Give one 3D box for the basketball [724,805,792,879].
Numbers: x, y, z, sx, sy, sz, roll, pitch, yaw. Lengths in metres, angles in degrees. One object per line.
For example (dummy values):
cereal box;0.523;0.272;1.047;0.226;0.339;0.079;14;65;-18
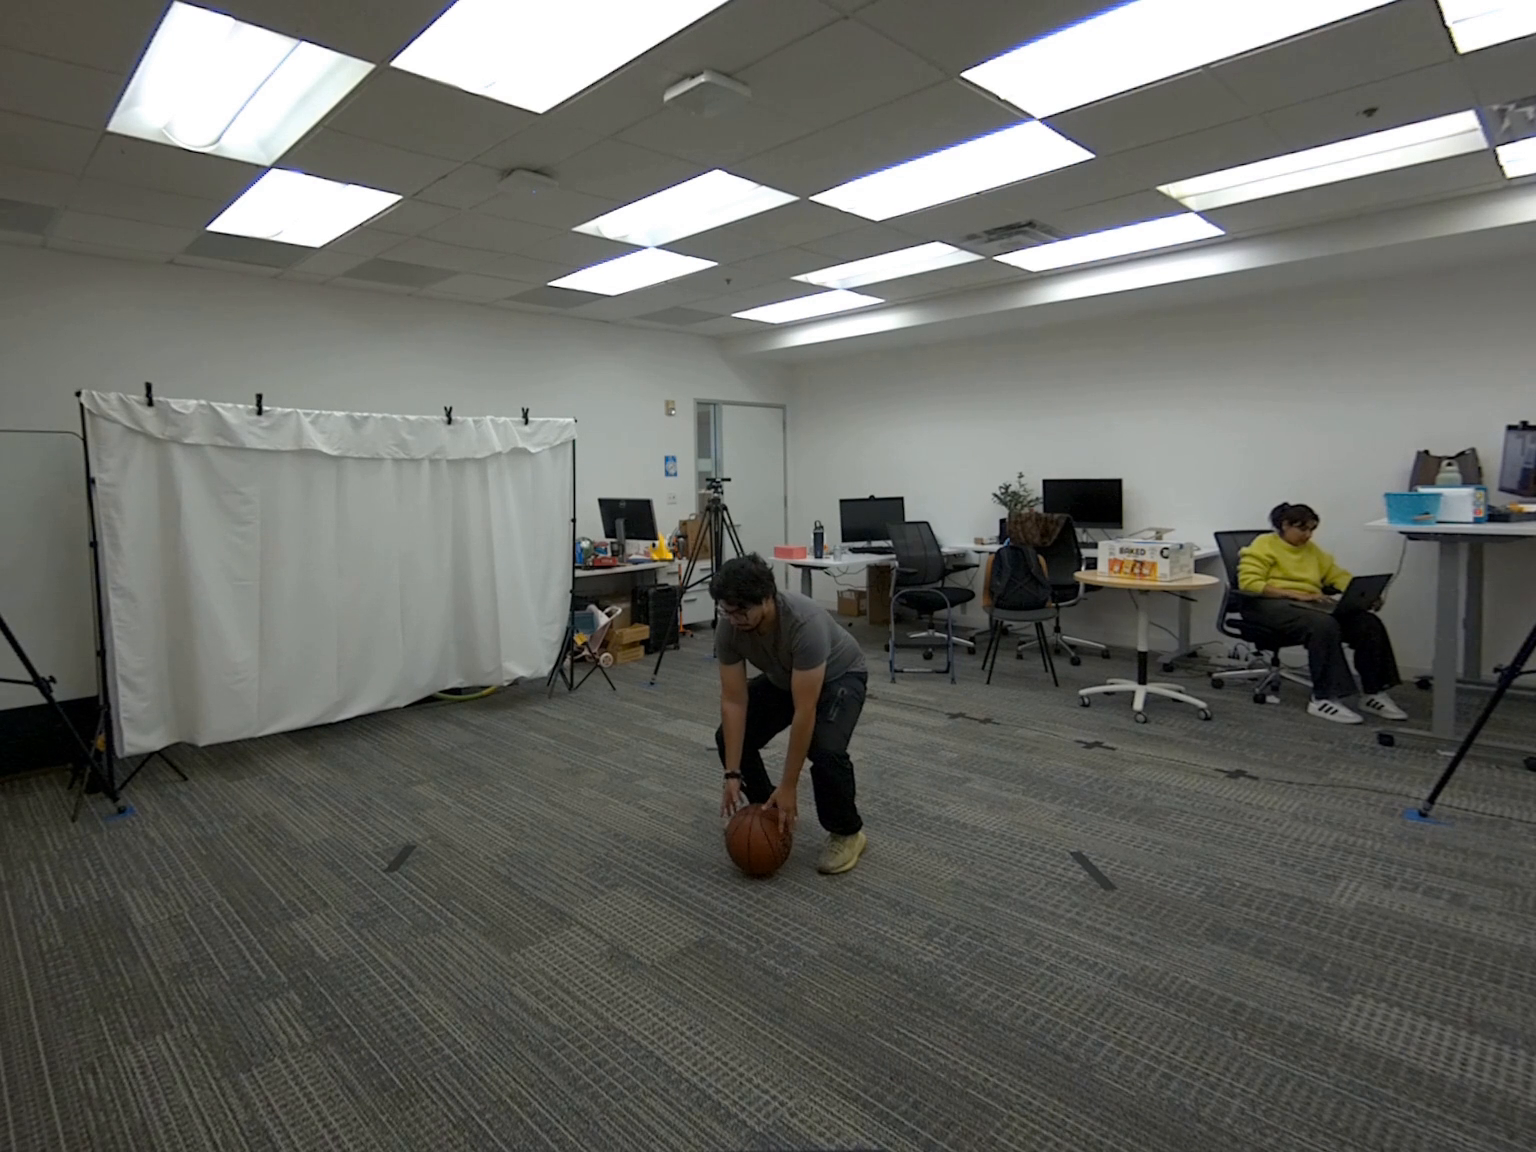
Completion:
basketball;-0.035;0.930;3.032;0.236;0.235;0.237;-1;5;-2
